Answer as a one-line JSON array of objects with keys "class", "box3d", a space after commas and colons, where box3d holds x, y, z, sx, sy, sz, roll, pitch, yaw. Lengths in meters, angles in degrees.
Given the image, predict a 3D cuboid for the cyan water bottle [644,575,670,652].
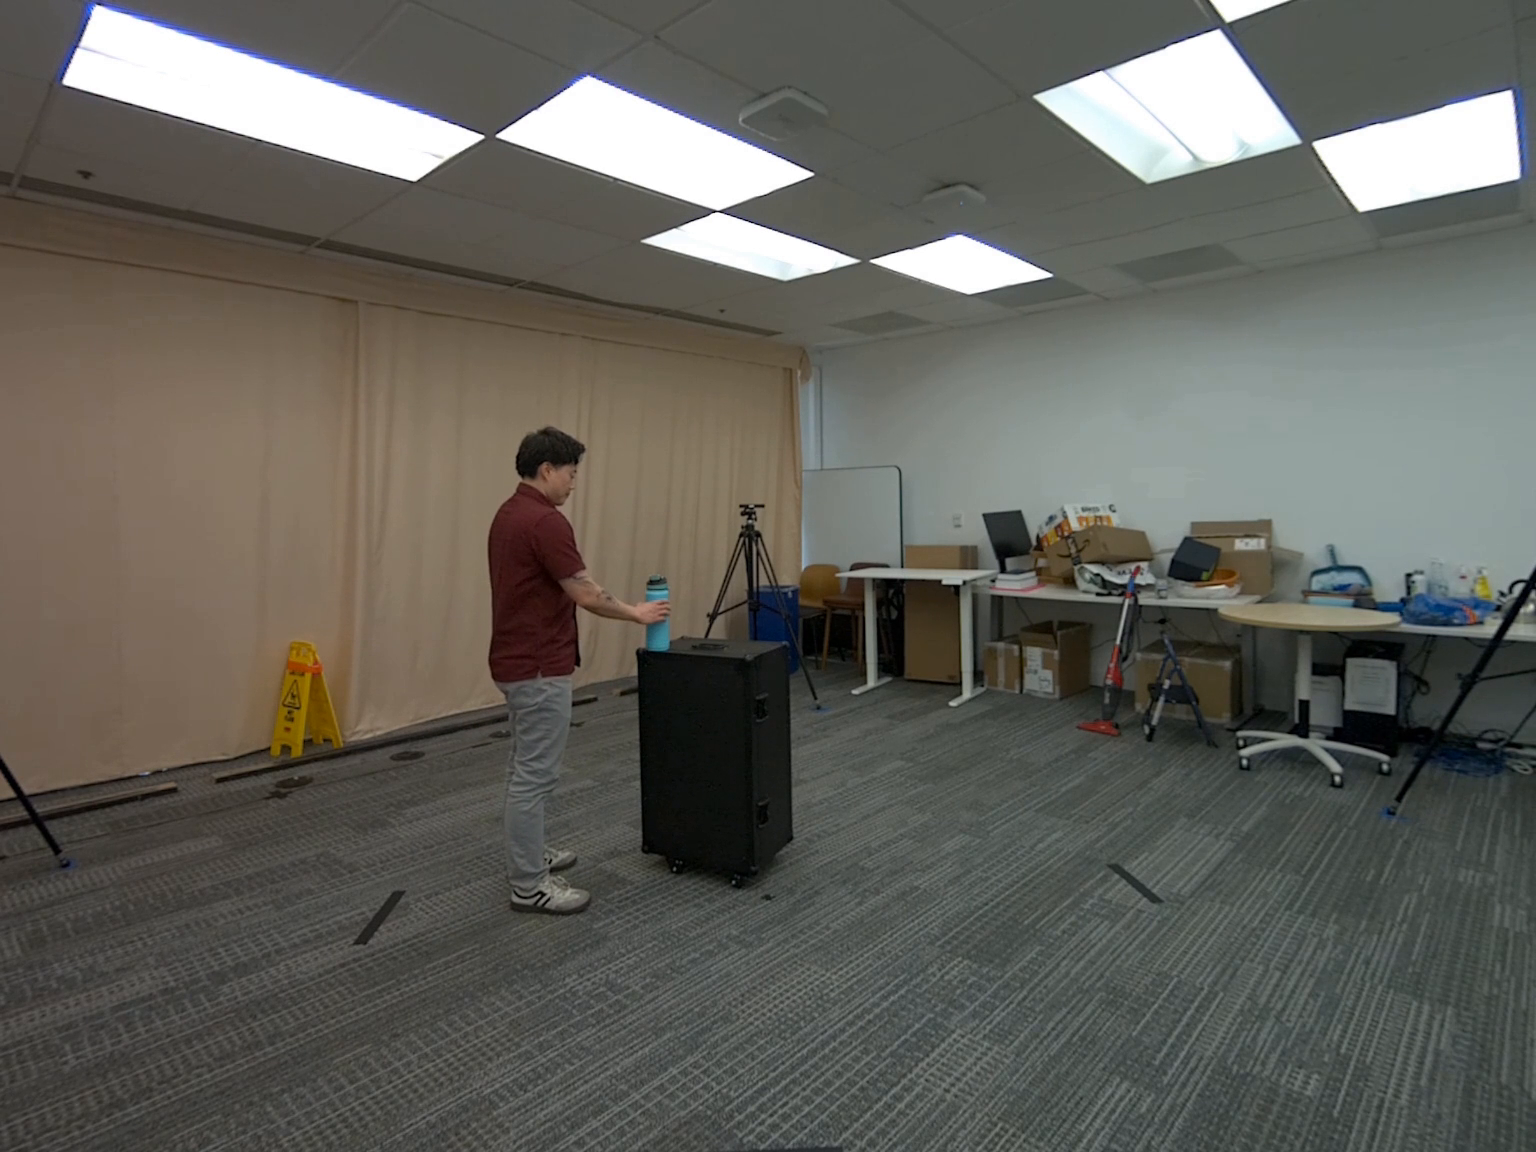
[{"class": "cyan water bottle", "box3d": [-0.421, 0.137, 3.183, 0.092, 0.283, 0.092, 2, 3, -2]}]
